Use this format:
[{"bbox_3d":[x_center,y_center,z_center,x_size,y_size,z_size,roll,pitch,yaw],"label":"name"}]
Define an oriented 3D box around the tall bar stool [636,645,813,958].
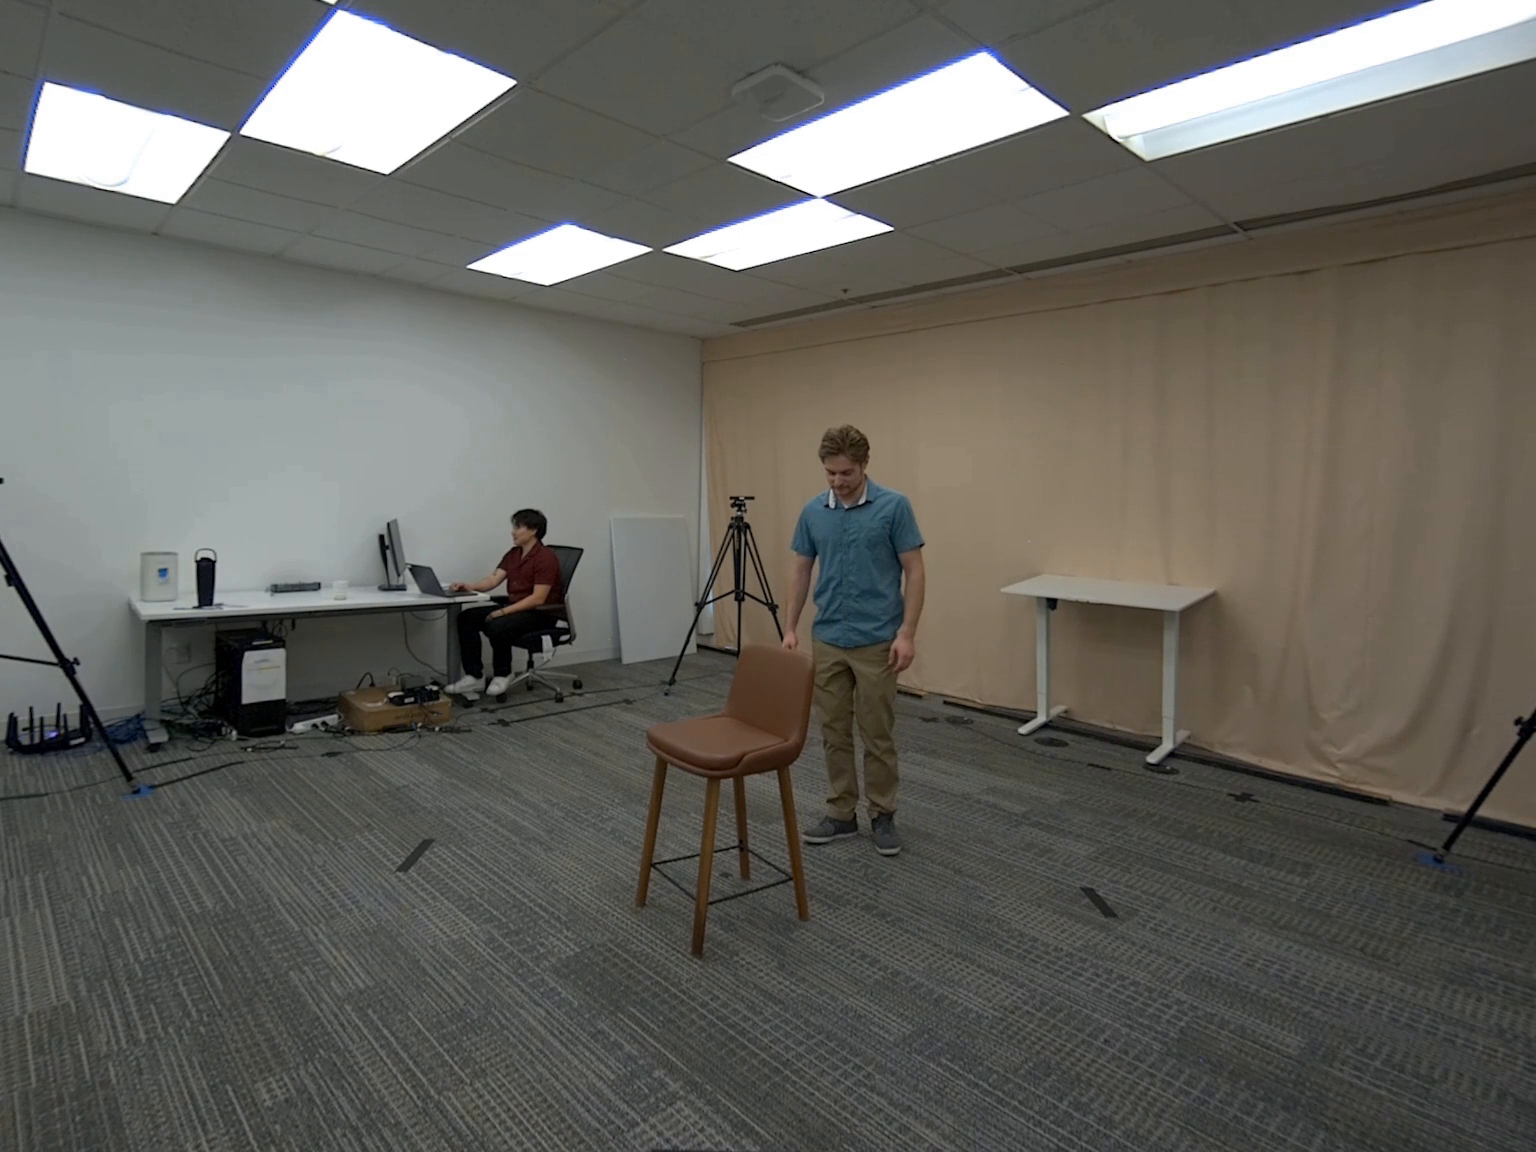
[{"bbox_3d":[-0.144,0.698,2.800,0.457,0.888,0.467,1,3,-35],"label":"tall bar stool"}]
